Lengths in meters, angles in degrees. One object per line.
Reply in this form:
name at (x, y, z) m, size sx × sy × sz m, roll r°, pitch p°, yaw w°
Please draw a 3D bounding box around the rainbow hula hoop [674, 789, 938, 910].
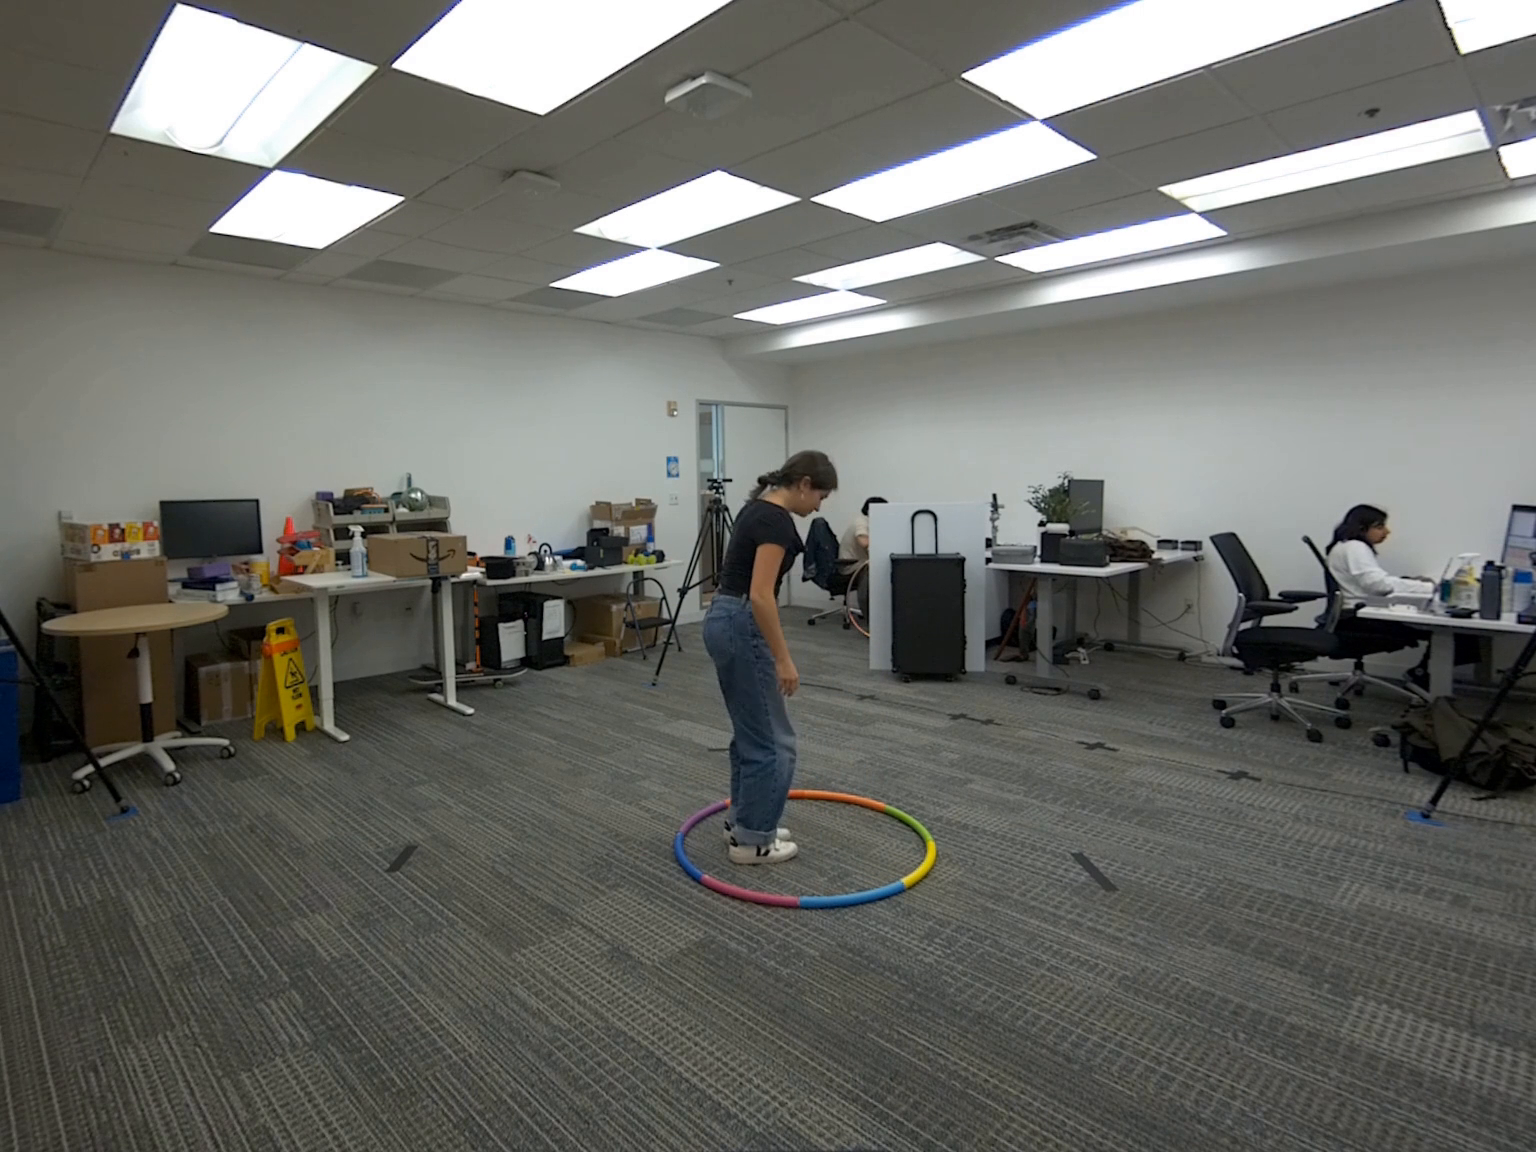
rainbow hula hoop at (0.132, 0.996, 3.261) m, size 0.978 × 0.035 × 0.984 m, roll -1°, pitch 6°, yaw -2°
